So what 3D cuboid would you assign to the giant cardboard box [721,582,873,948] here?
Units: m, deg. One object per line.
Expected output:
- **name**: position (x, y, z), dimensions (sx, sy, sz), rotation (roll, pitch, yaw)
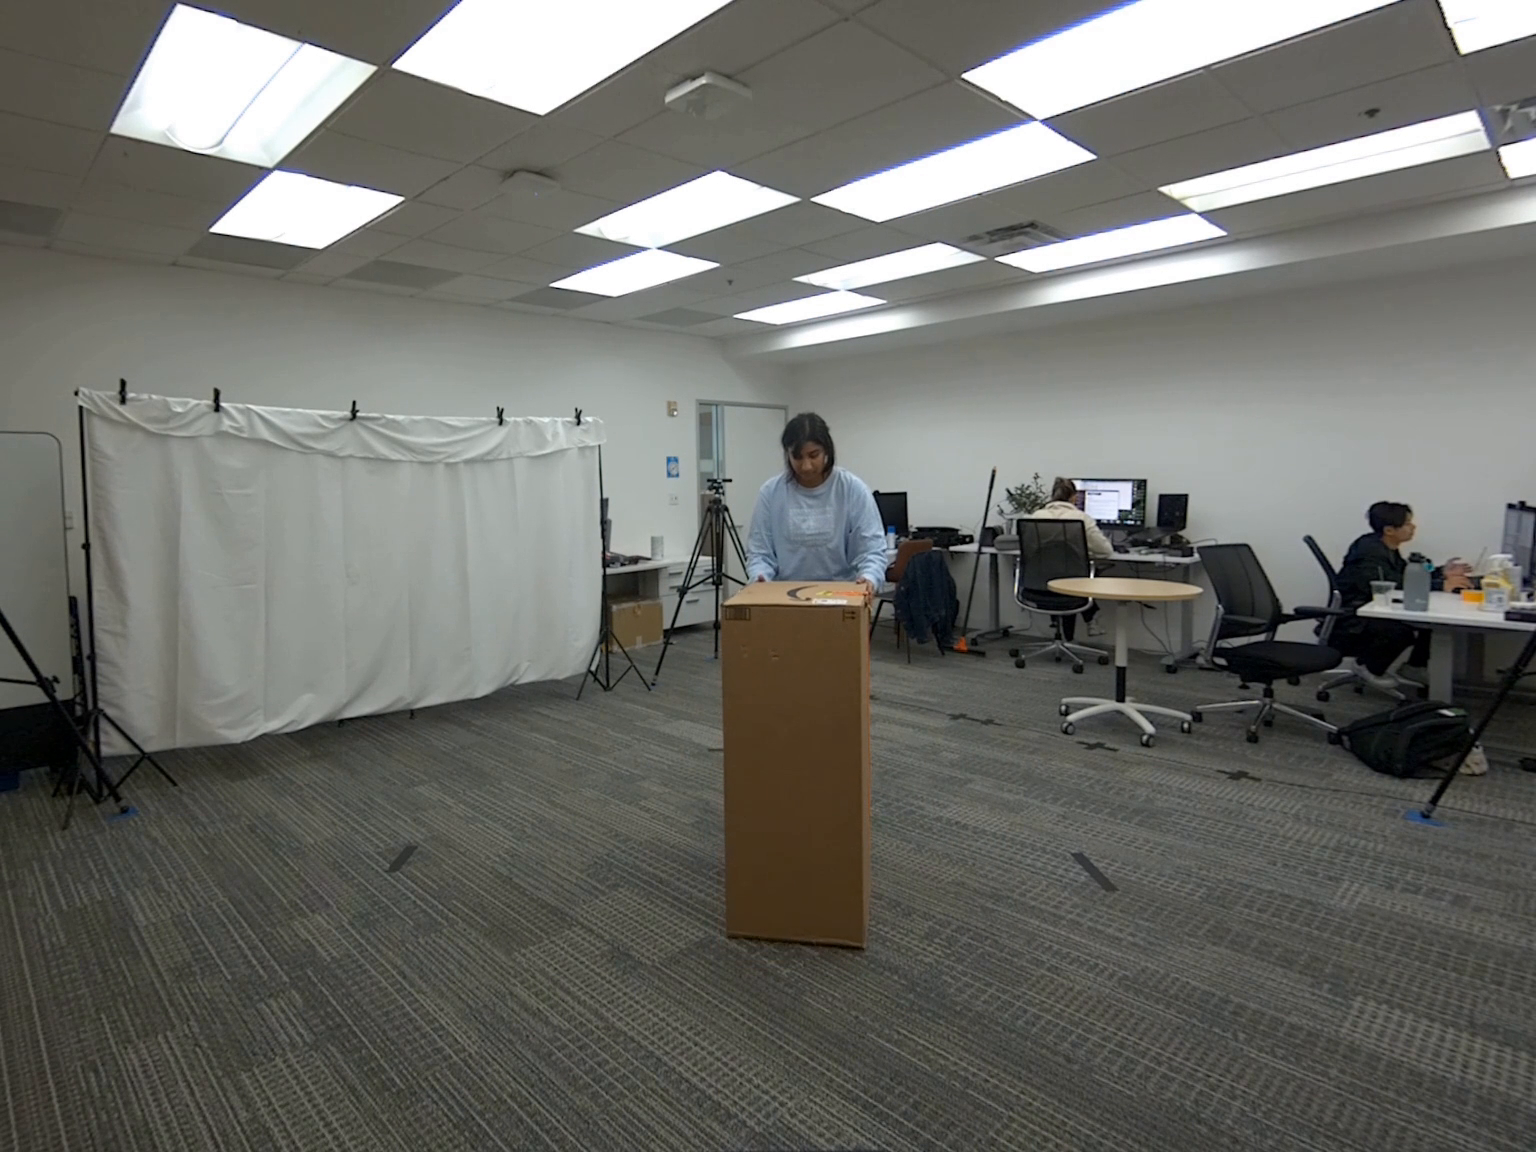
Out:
- **giant cardboard box**: position (0.111, 0.567, 2.817), dimensions (0.430, 1.022, 0.574), rotation (-1, 4, 9)
